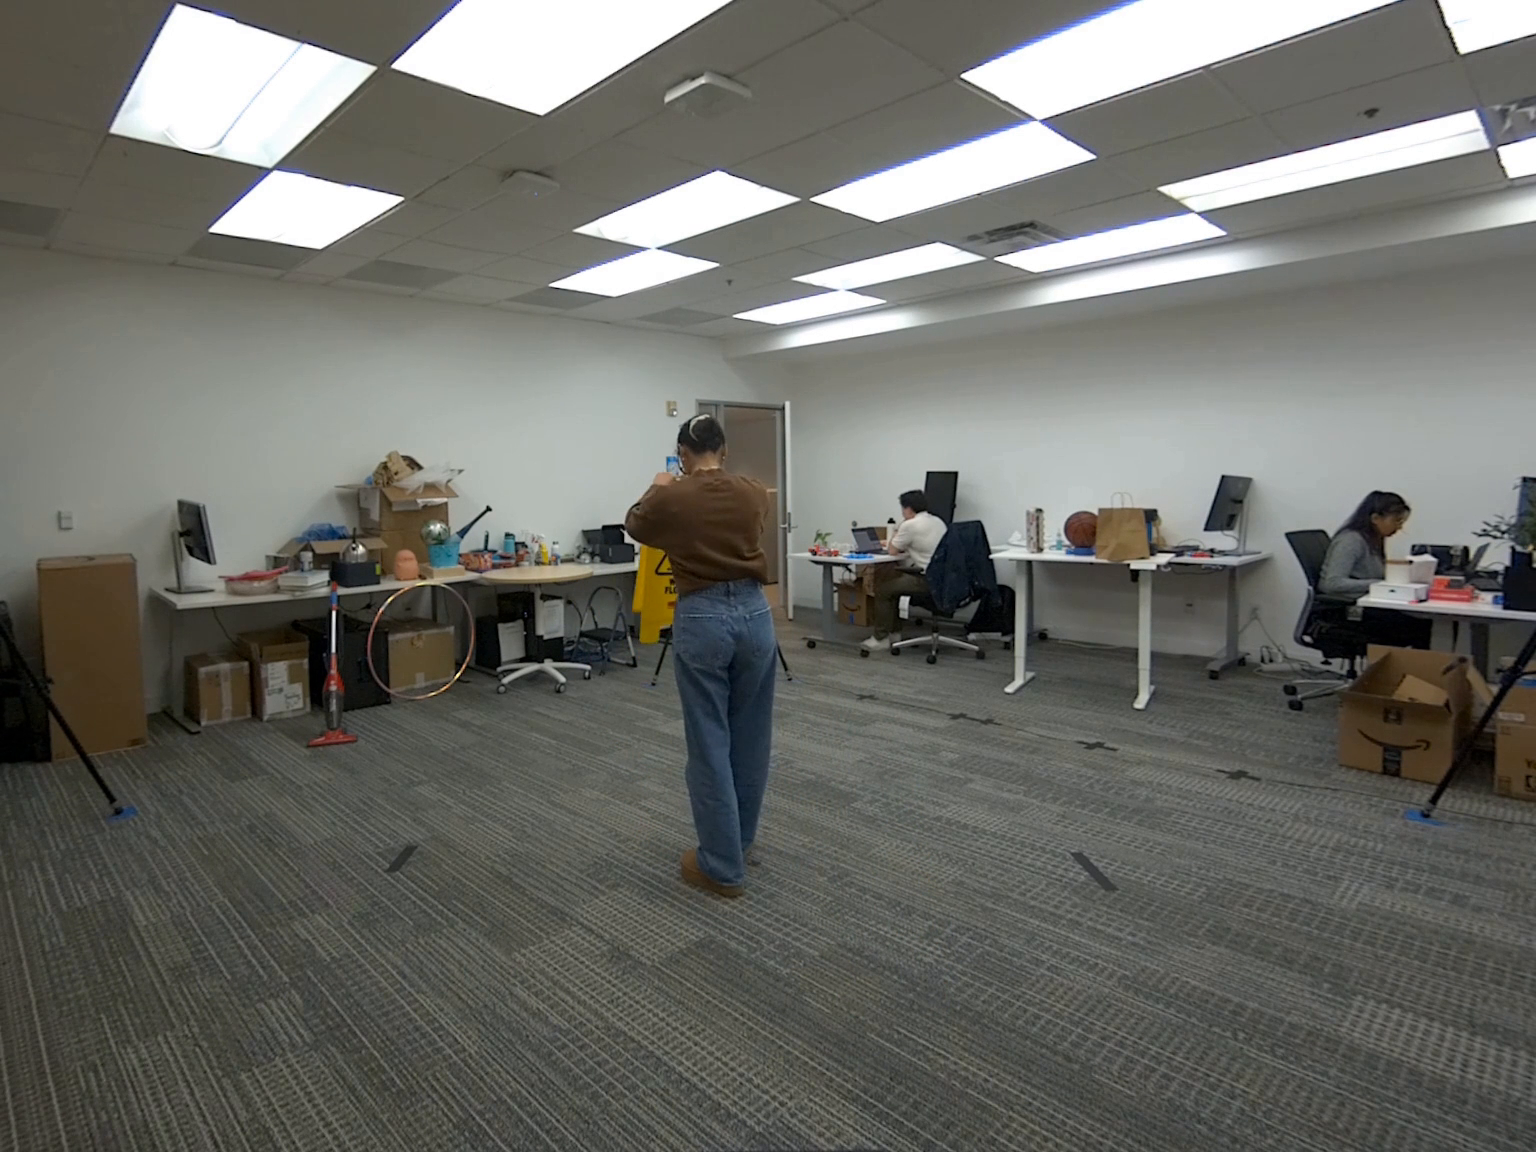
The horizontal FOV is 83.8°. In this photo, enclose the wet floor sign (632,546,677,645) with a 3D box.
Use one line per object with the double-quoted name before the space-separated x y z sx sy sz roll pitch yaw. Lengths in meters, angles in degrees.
"wet floor sign" -0.375 -0.088 3.446 0.278 0.634 0.299 -1 24 -15
